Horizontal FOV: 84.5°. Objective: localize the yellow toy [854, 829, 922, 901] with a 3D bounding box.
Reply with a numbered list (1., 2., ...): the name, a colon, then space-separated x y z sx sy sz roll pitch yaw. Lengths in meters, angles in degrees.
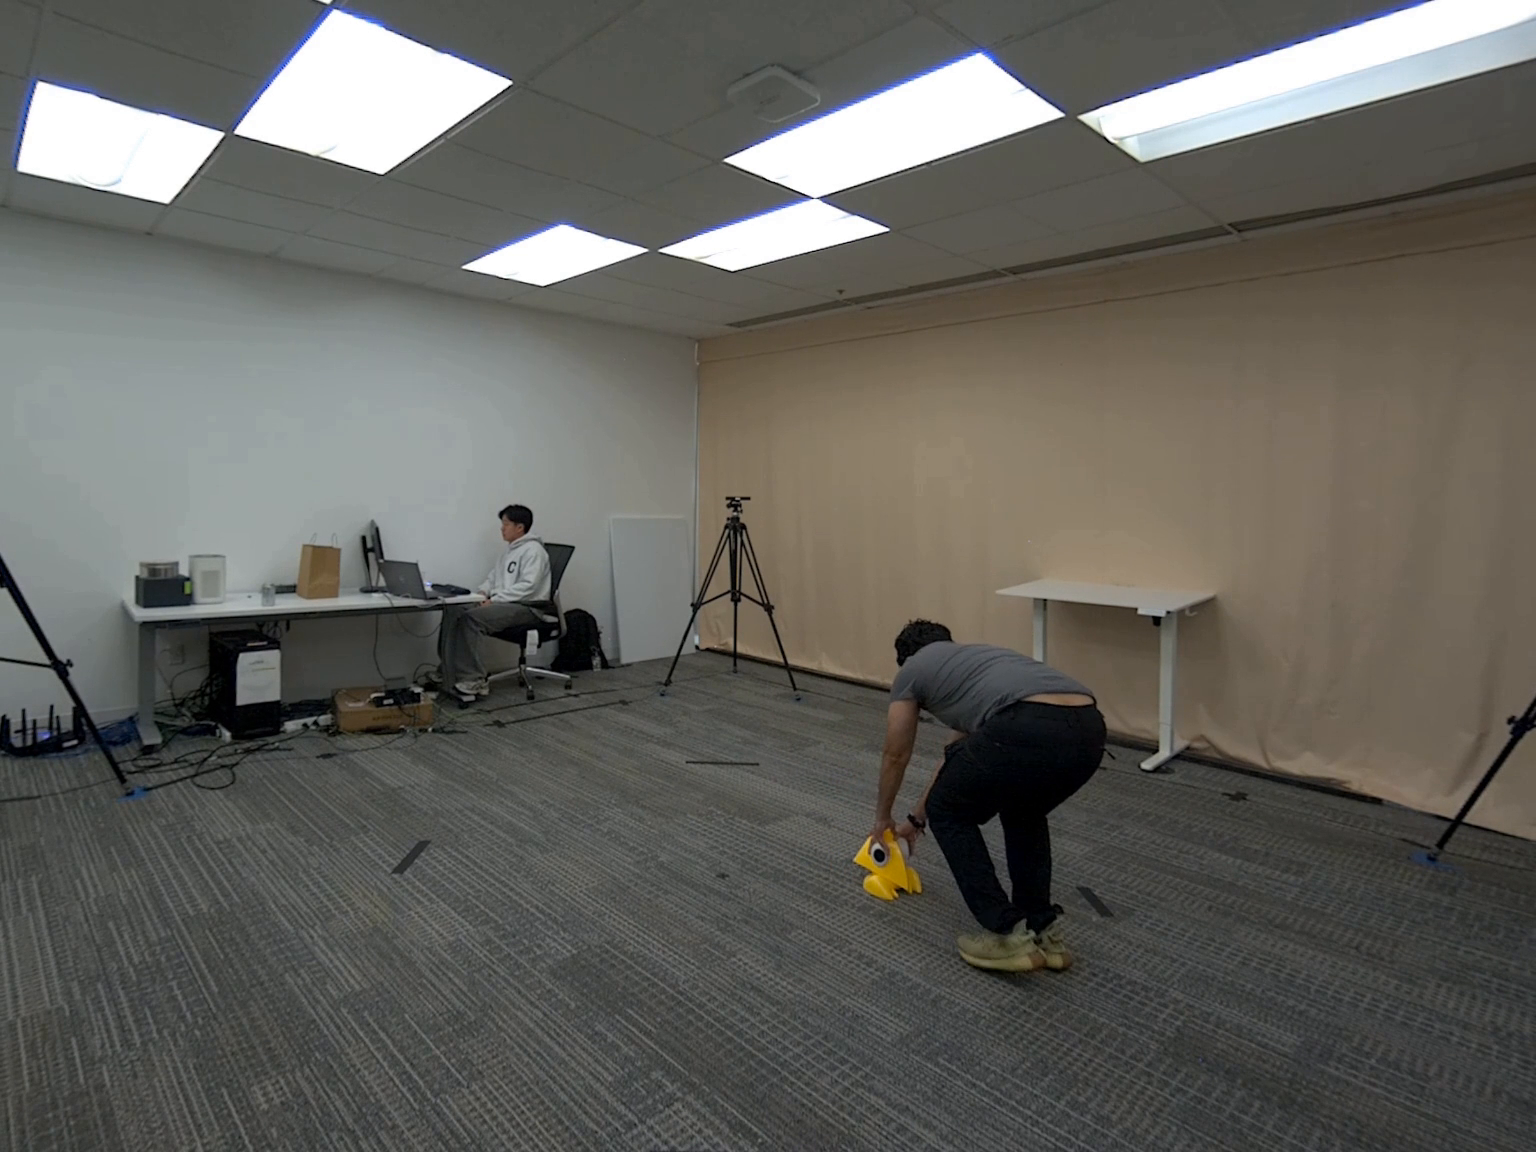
1. yellow toy: 0.441 1.013 3.049 0.201 0.230 0.197 -1 4 -29
